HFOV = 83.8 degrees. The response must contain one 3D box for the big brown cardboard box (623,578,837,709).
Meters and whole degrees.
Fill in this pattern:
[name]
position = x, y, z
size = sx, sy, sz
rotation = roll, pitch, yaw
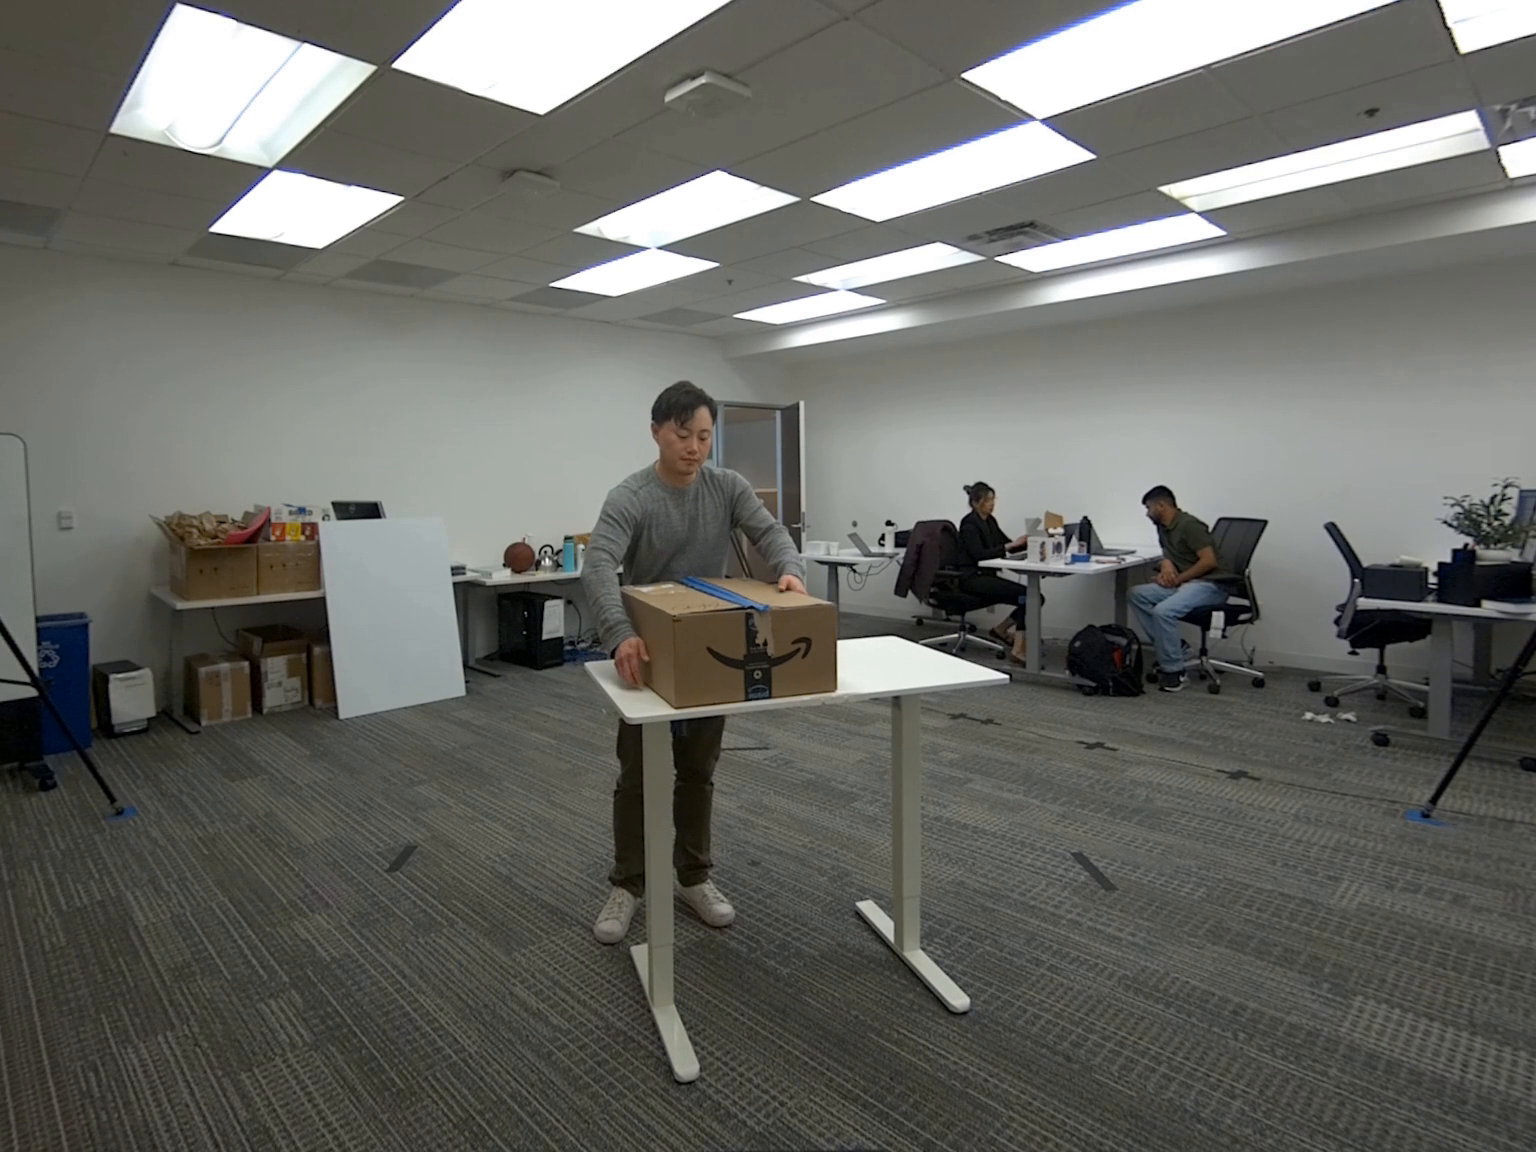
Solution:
[big brown cardboard box]
position = -0.135, 0.154, 2.262
size = 0.410, 0.232, 0.603
rotation = -3, 8, -23
